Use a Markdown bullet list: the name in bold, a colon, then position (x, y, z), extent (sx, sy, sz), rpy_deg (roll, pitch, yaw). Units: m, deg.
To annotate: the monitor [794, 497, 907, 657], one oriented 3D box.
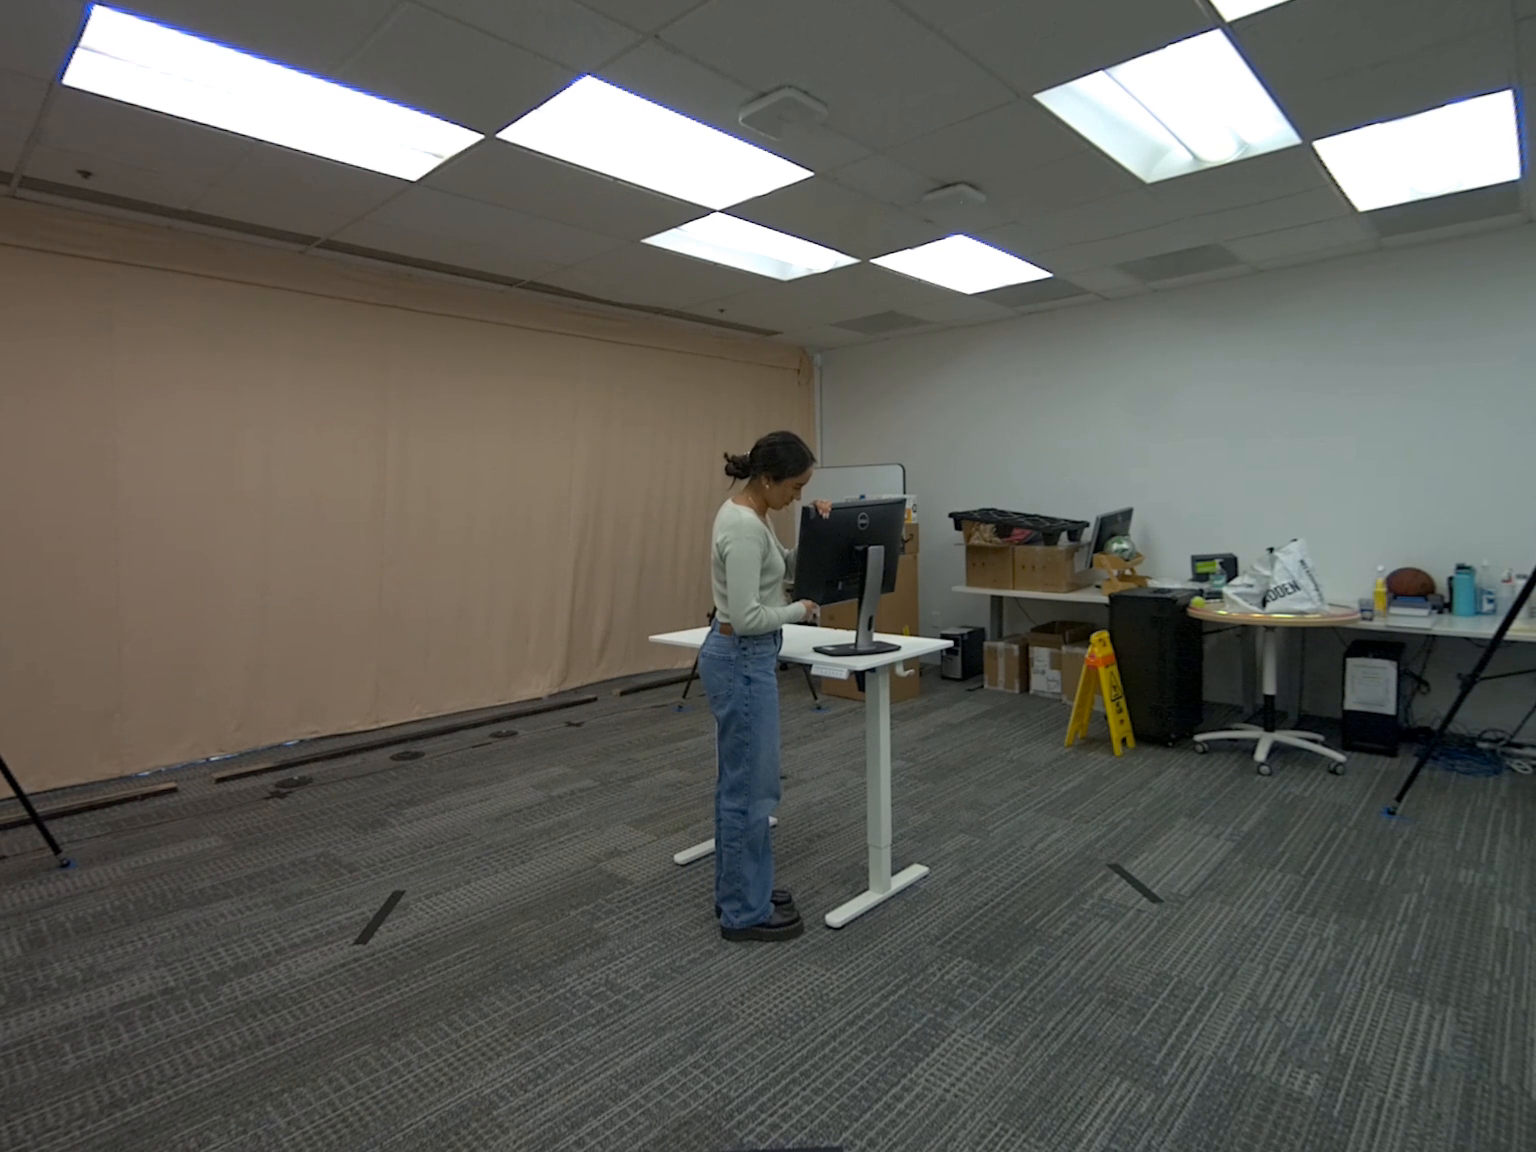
- **monitor**: position (0.319, 0.007, 2.853), extent (0.523, 0.521, 0.193), rpy_deg (-7, 6, -43)
